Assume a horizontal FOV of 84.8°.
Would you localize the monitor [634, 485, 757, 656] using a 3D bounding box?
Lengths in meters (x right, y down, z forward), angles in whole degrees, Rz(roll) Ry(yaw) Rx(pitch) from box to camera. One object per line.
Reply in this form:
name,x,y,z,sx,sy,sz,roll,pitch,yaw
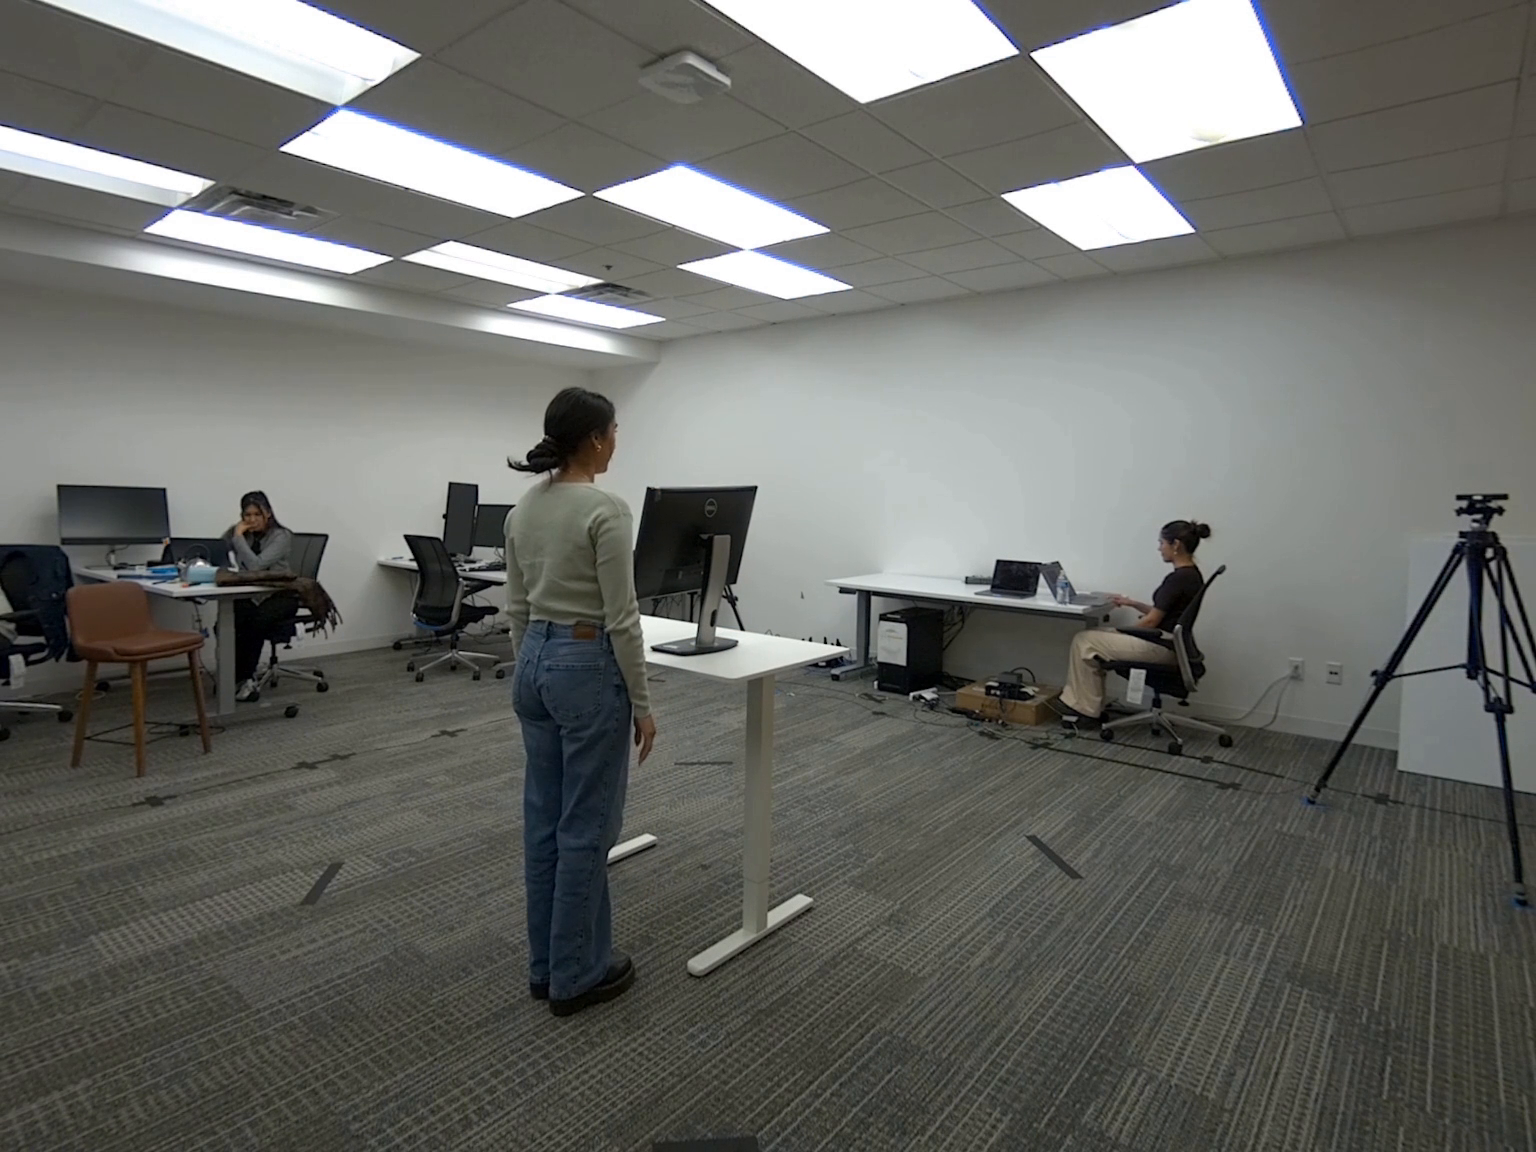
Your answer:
monitor,-0.223,-0.031,2.681,0.180,0.514,0.516,1,5,35
